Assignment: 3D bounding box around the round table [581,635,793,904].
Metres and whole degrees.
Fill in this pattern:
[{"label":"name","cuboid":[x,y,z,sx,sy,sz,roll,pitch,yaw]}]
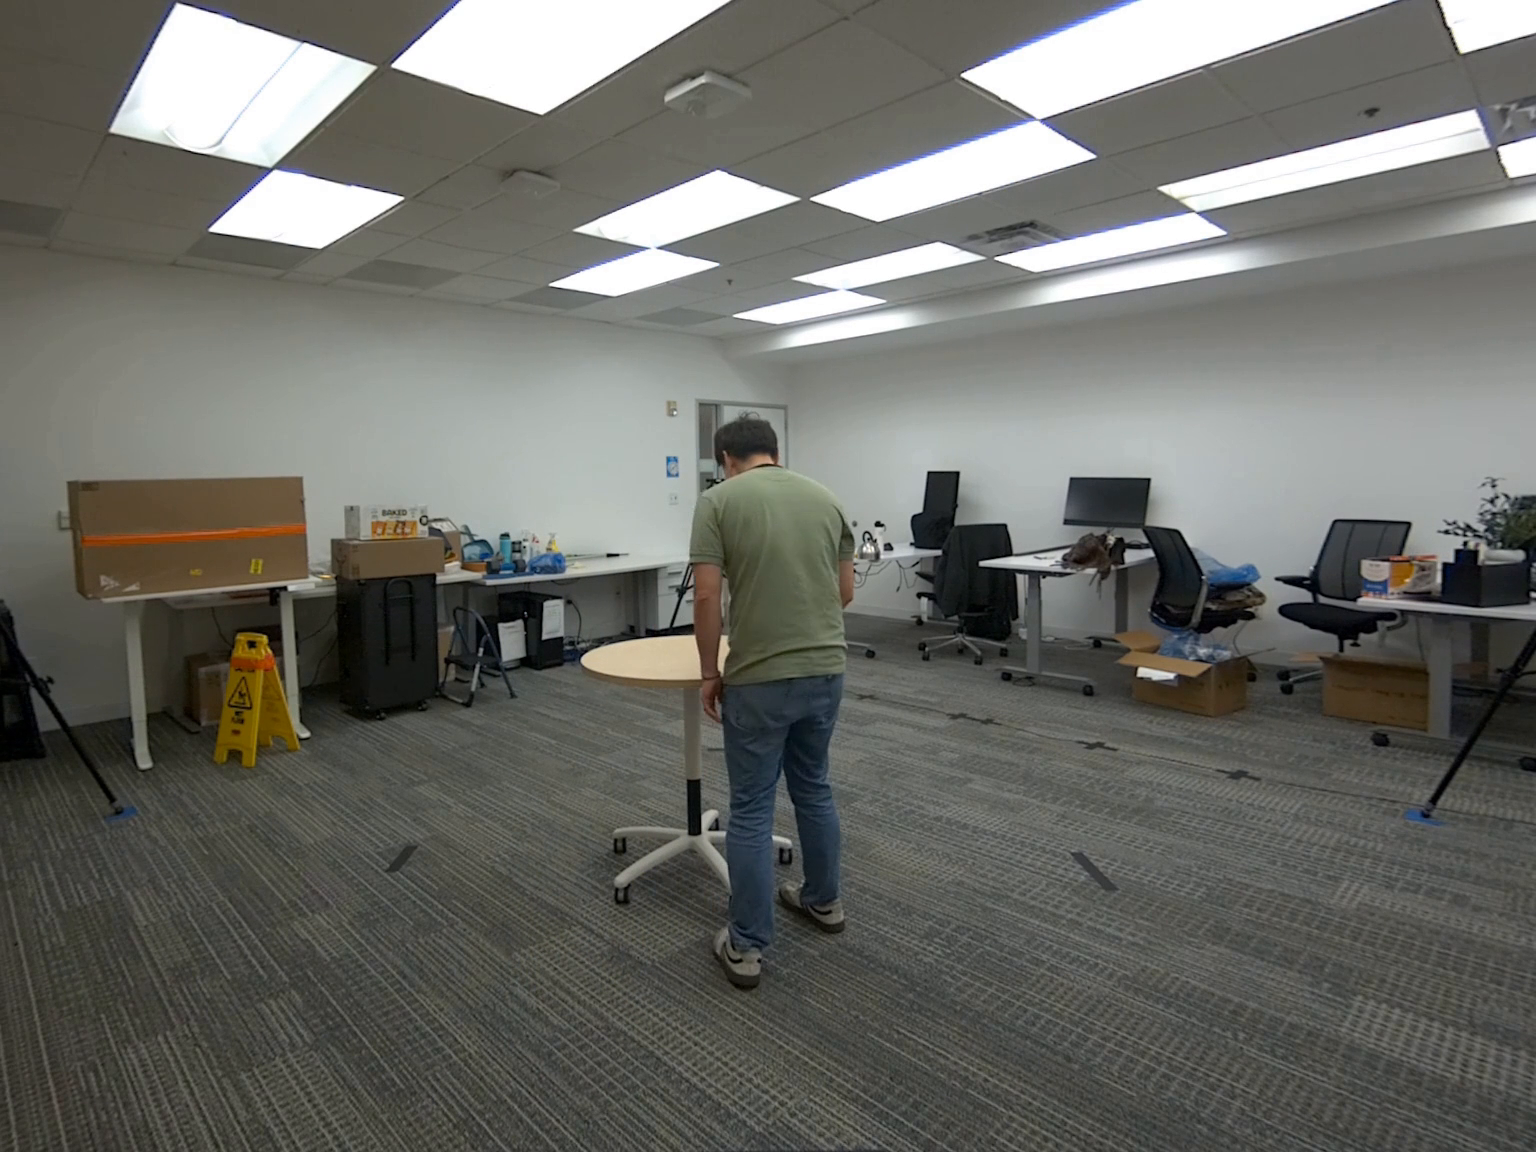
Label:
[{"label":"round table","cuboid":[-0.265,0.670,3.024,0.763,0.791,0.768,-1,5,-2]}]
